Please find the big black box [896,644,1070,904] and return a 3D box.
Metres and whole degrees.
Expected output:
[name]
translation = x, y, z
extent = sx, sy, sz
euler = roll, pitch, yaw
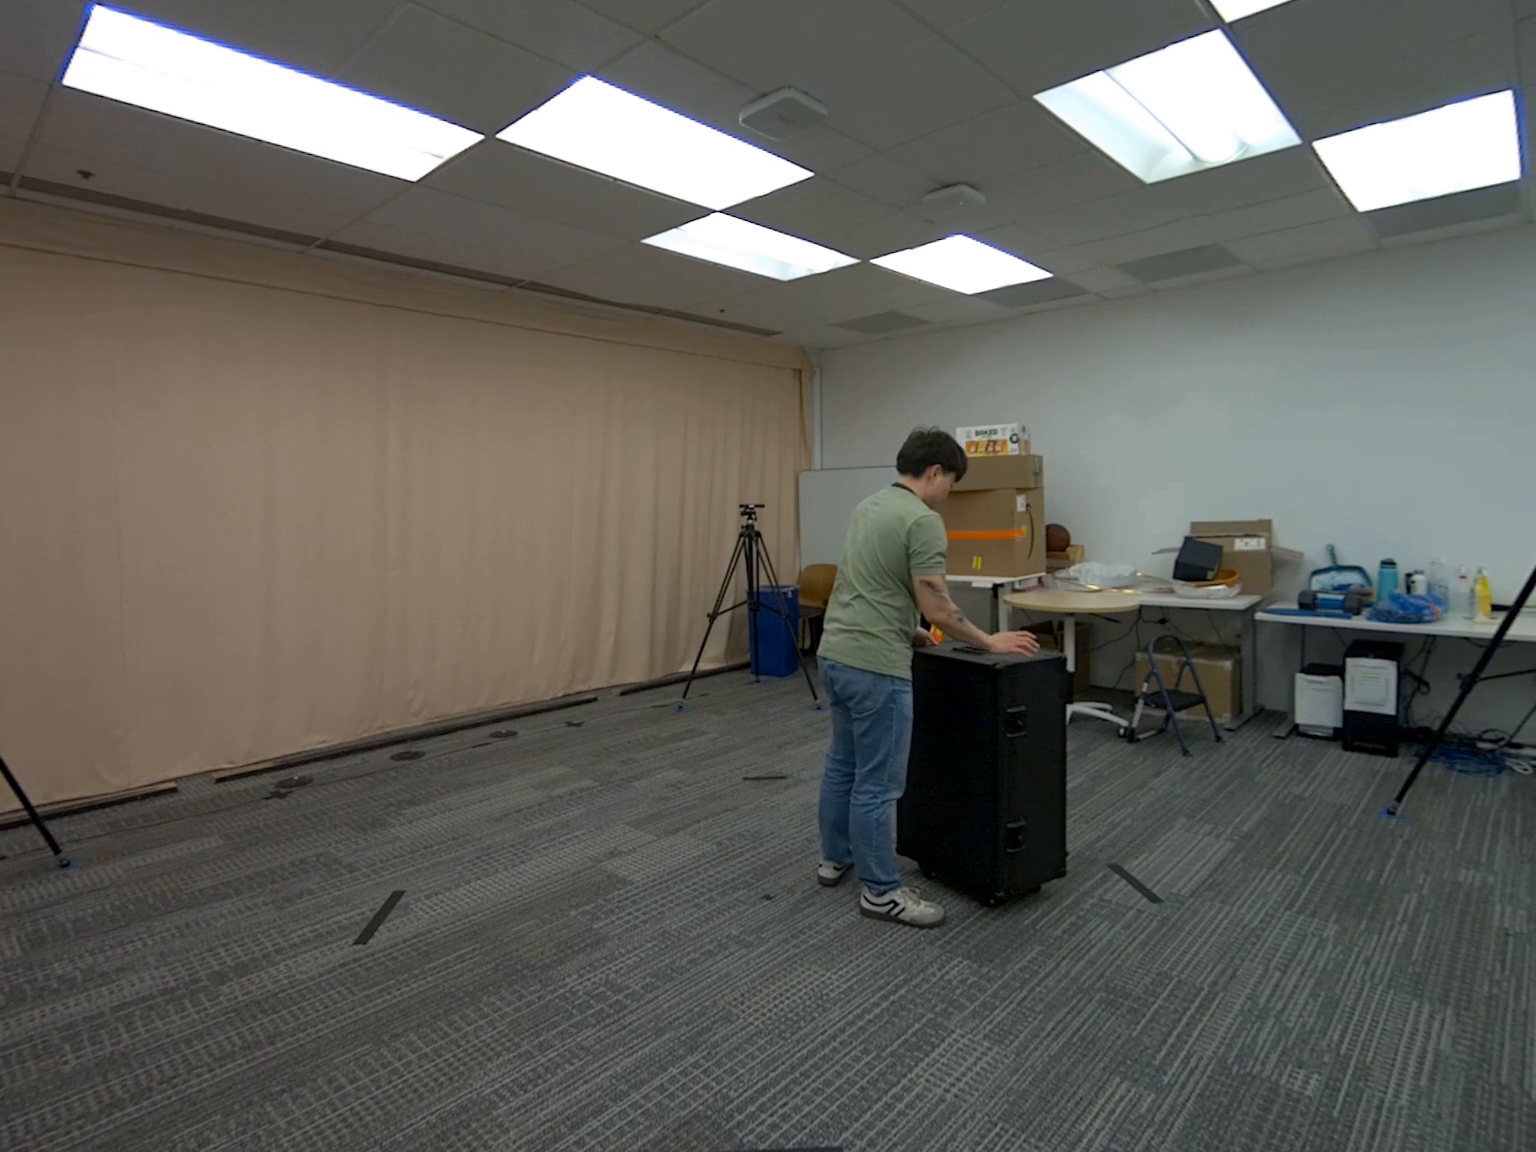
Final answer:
[big black box]
translation = 0.776, 0.695, 3.059
extent = 0.385, 0.860, 0.537
euler = -2, 3, -33
